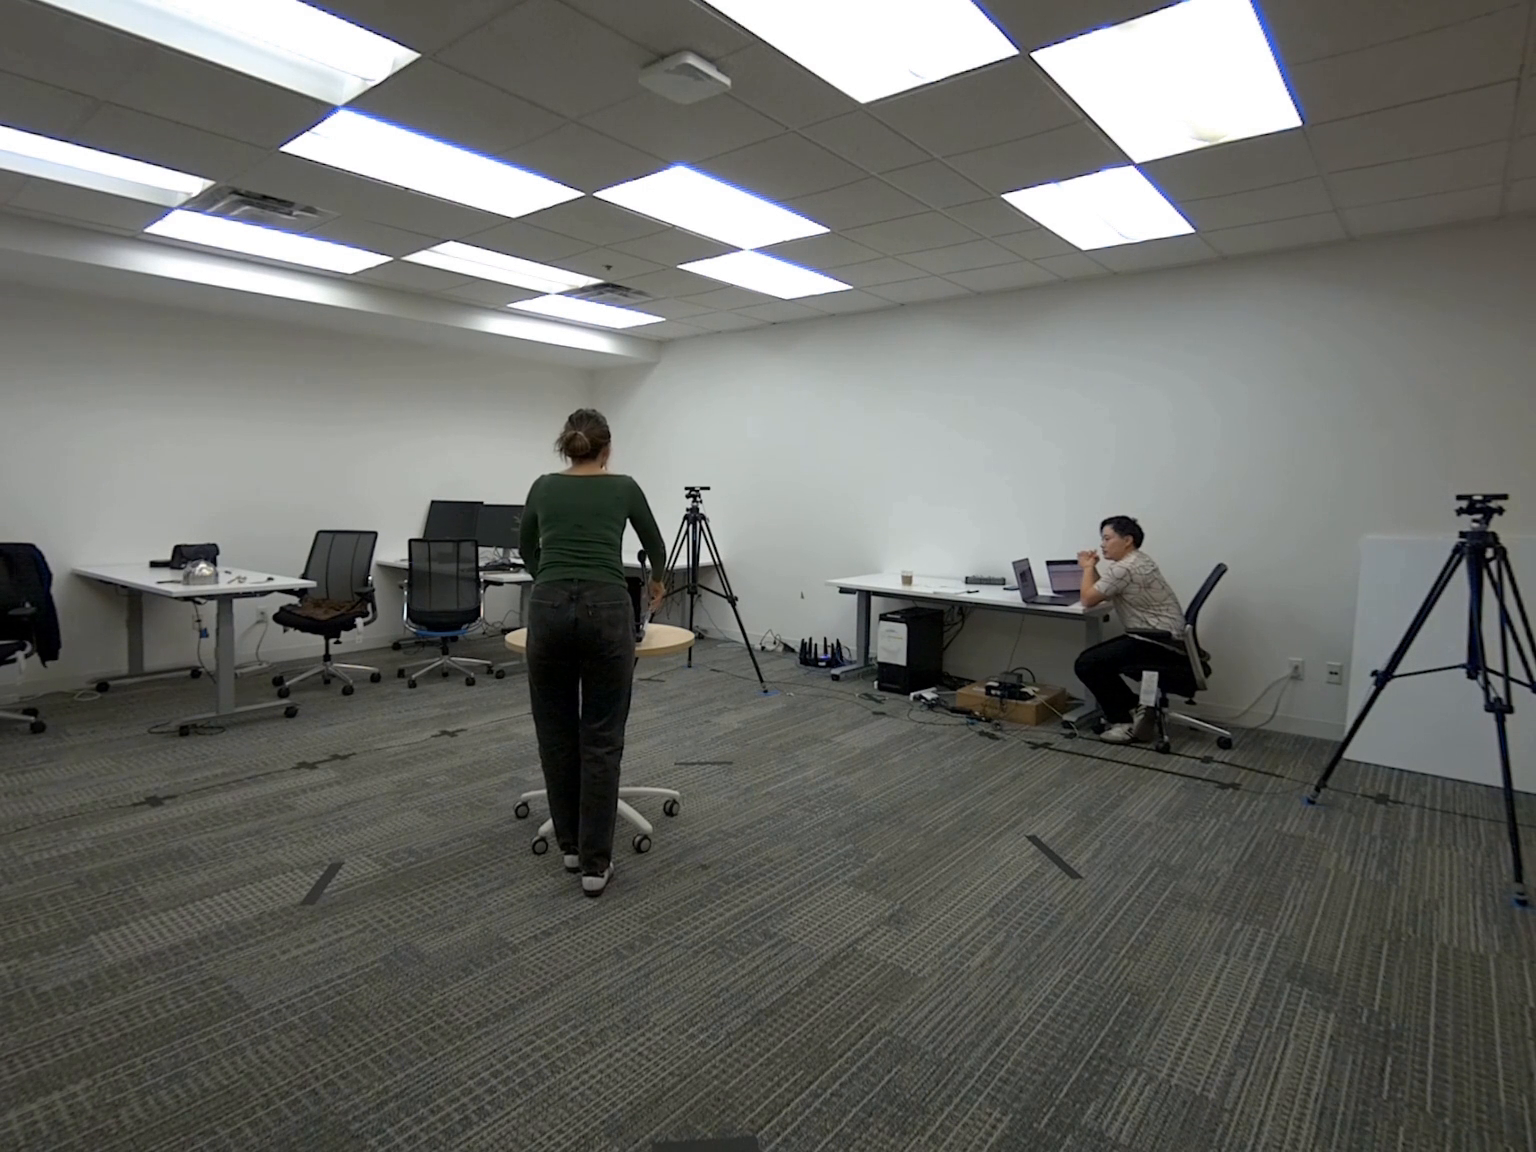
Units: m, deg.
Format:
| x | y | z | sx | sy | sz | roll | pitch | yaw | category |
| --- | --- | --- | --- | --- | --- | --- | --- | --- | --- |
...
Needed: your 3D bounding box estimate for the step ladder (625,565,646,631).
| x | y | z | sx | sy | sz | roll | pitch | yaw | category |
| --- | --- | --- | --- | --- | --- | --- | --- | --- | --- |
| -0.694 | 0.099 | 3.536 | 0.431 | 0.352 | 0.602 | 1 | -6 | -1 | step ladder |
